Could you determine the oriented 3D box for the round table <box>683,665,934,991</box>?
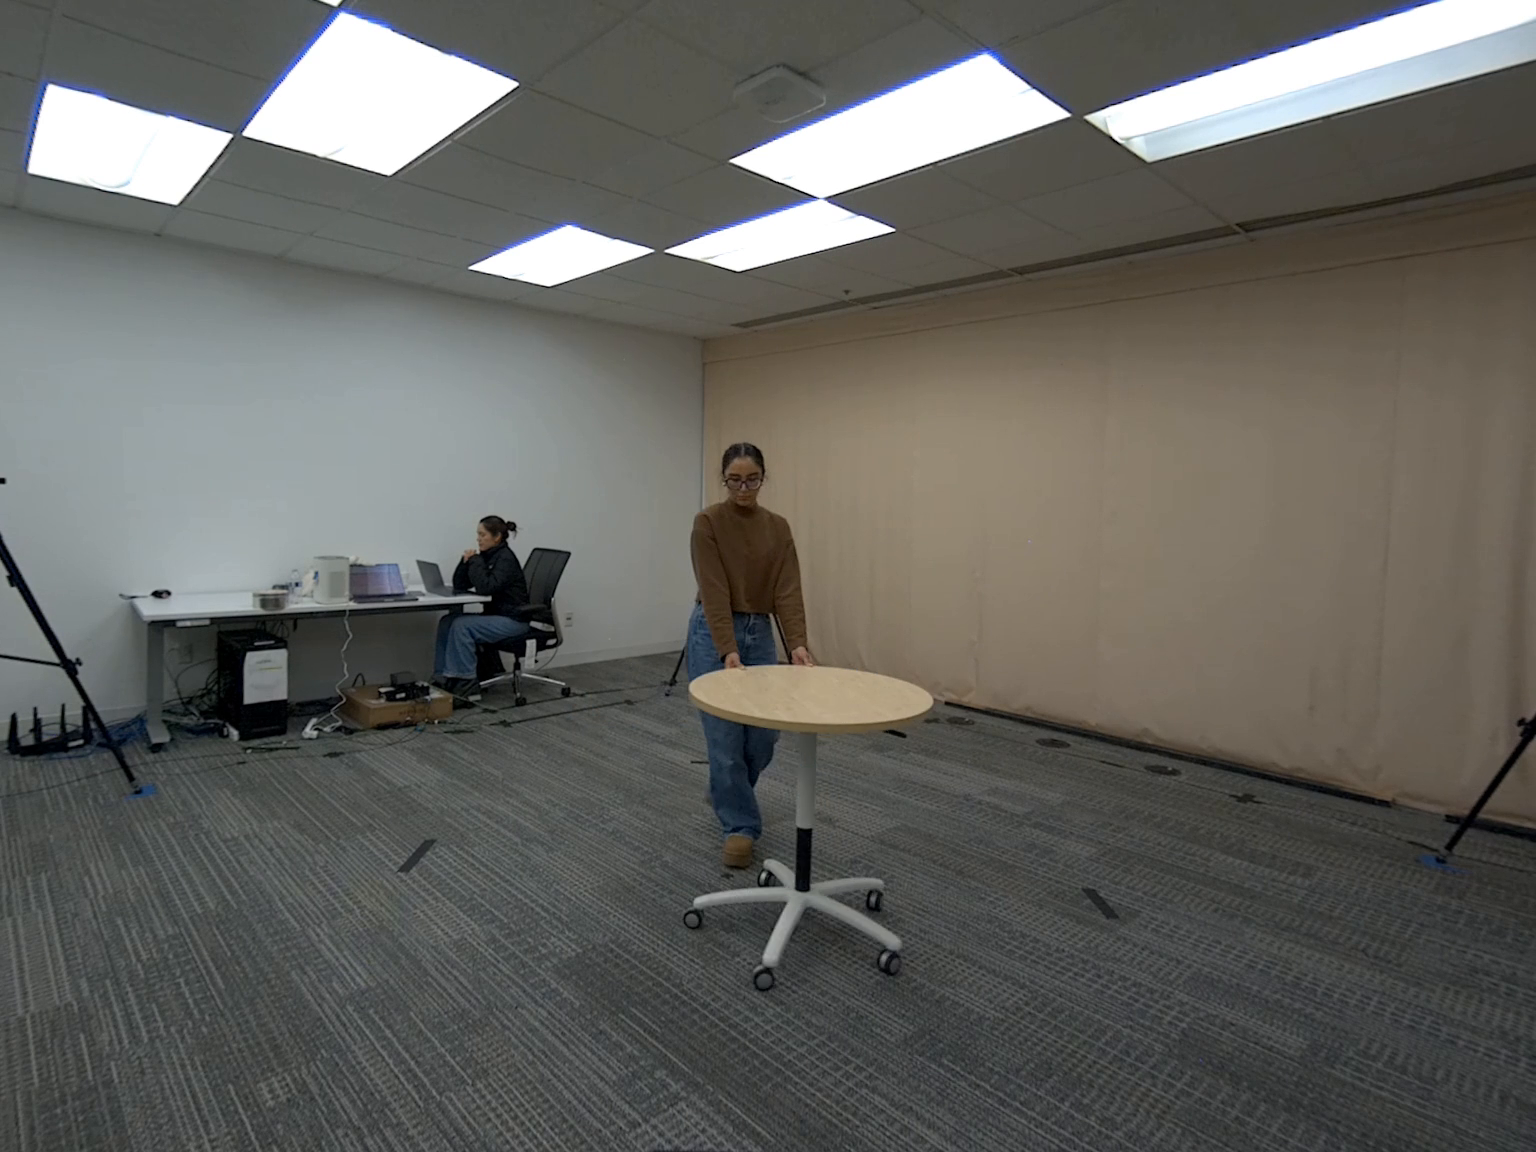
[{"bbox_3d":[0.095,0.753,2.702,0.784,0.784,0.788,2,4,-2],"label":"round table"}]
